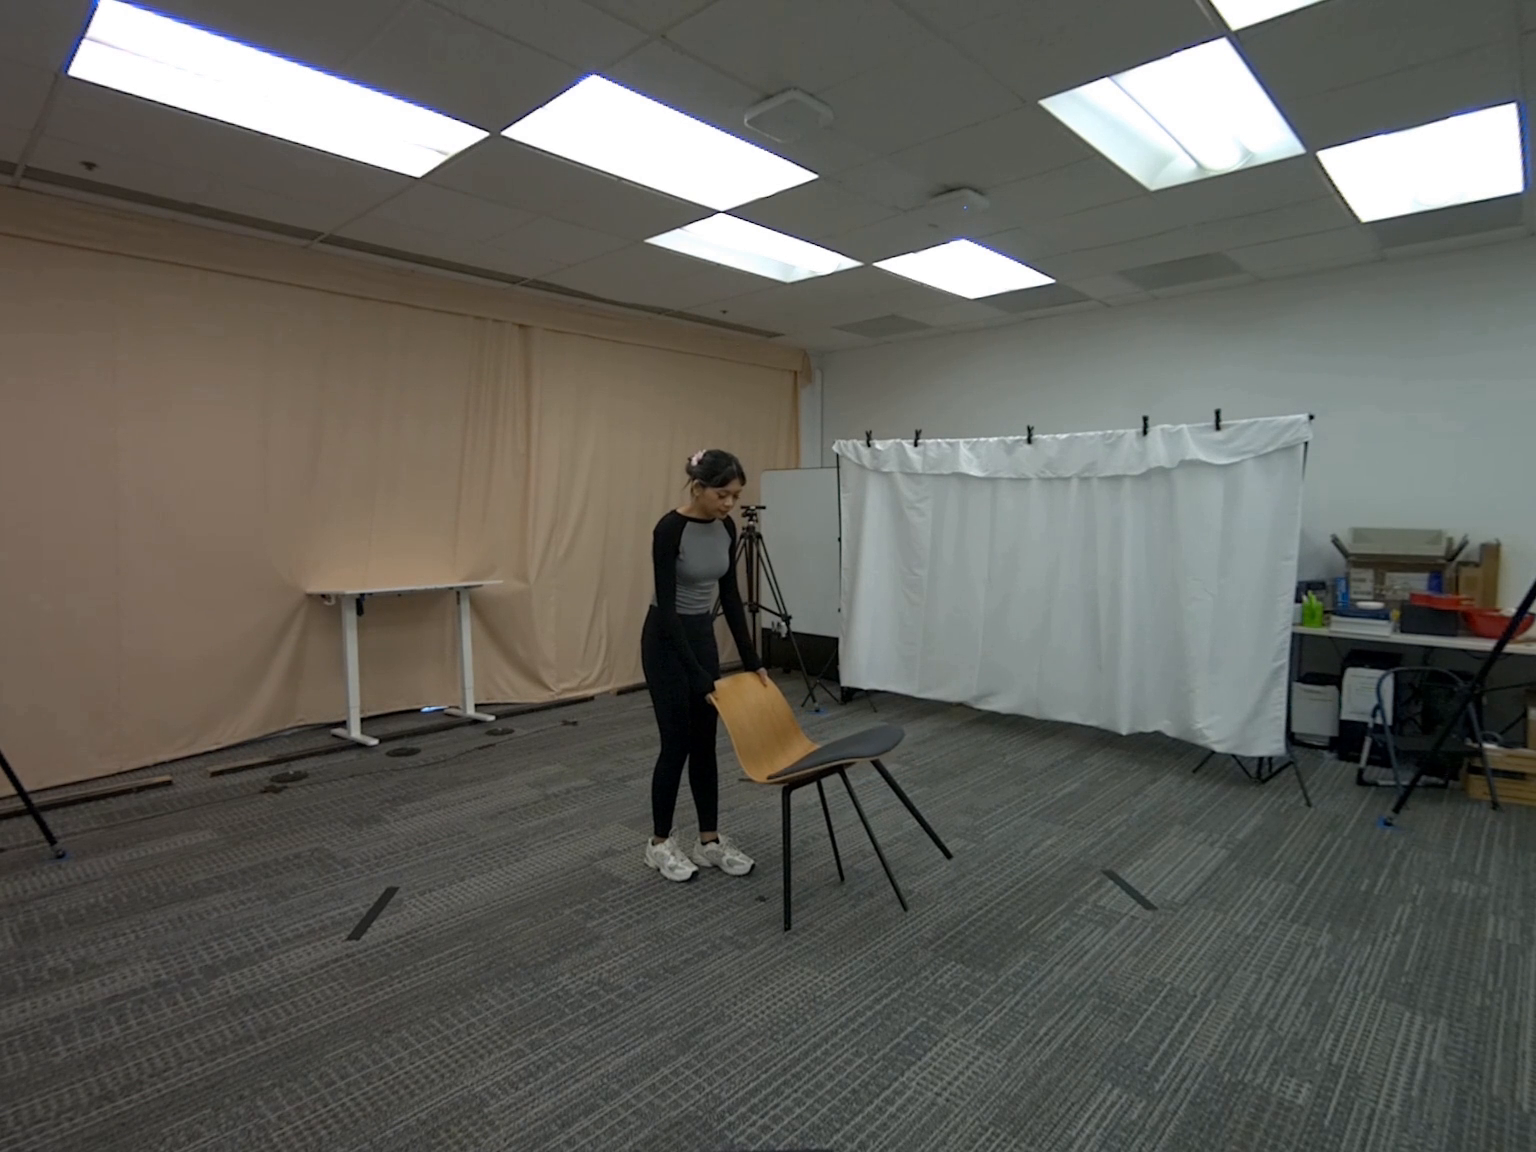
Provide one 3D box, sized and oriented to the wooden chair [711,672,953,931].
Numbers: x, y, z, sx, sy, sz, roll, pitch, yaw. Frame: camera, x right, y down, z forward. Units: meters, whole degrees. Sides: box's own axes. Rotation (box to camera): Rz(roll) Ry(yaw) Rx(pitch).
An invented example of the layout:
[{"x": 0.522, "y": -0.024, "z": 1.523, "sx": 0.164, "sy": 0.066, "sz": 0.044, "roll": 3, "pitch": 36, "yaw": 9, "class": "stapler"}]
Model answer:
[{"x": 0.214, "y": 0.670, "z": 2.883, "sx": 0.531, "sy": 0.888, "sz": 0.465, "roll": -30, "pitch": -13, "yaw": 29, "class": "wooden chair"}]
